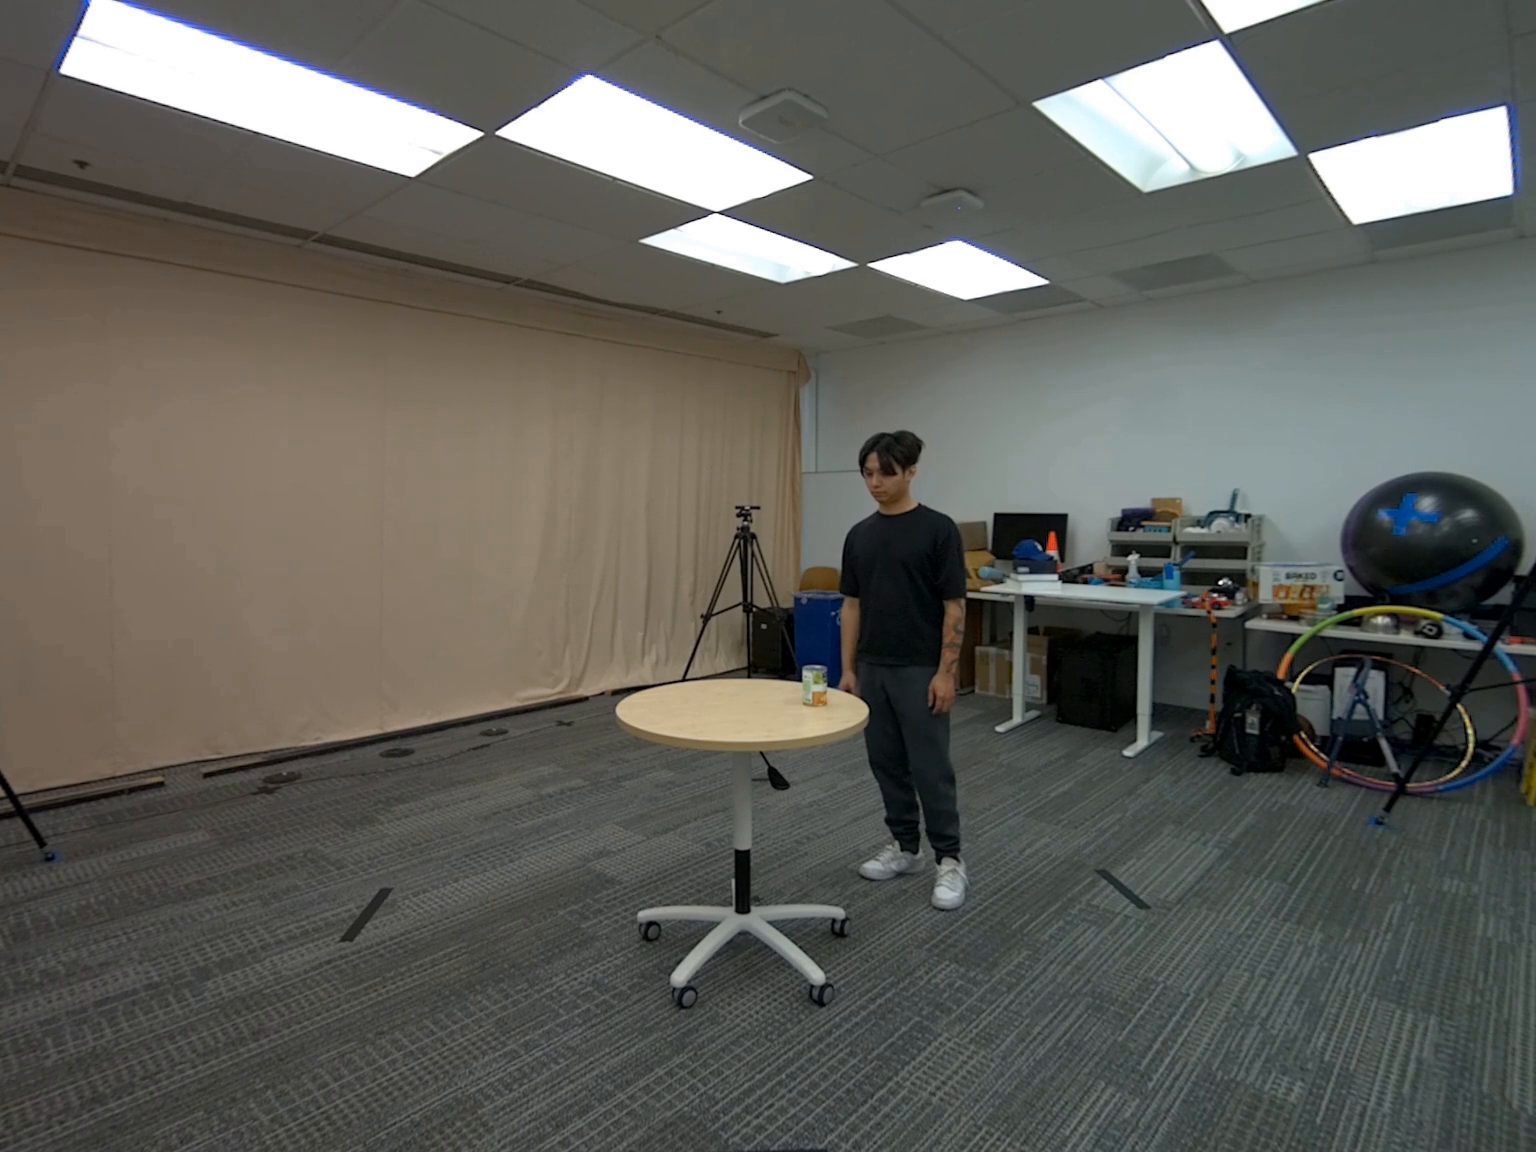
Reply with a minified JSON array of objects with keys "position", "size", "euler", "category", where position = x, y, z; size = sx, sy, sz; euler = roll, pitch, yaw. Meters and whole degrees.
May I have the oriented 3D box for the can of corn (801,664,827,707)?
[{"position":[0.150,0.338,2.584],"size":[0.074,0.111,0.074],"euler":[1,4,-2],"category":"can of corn"}]
